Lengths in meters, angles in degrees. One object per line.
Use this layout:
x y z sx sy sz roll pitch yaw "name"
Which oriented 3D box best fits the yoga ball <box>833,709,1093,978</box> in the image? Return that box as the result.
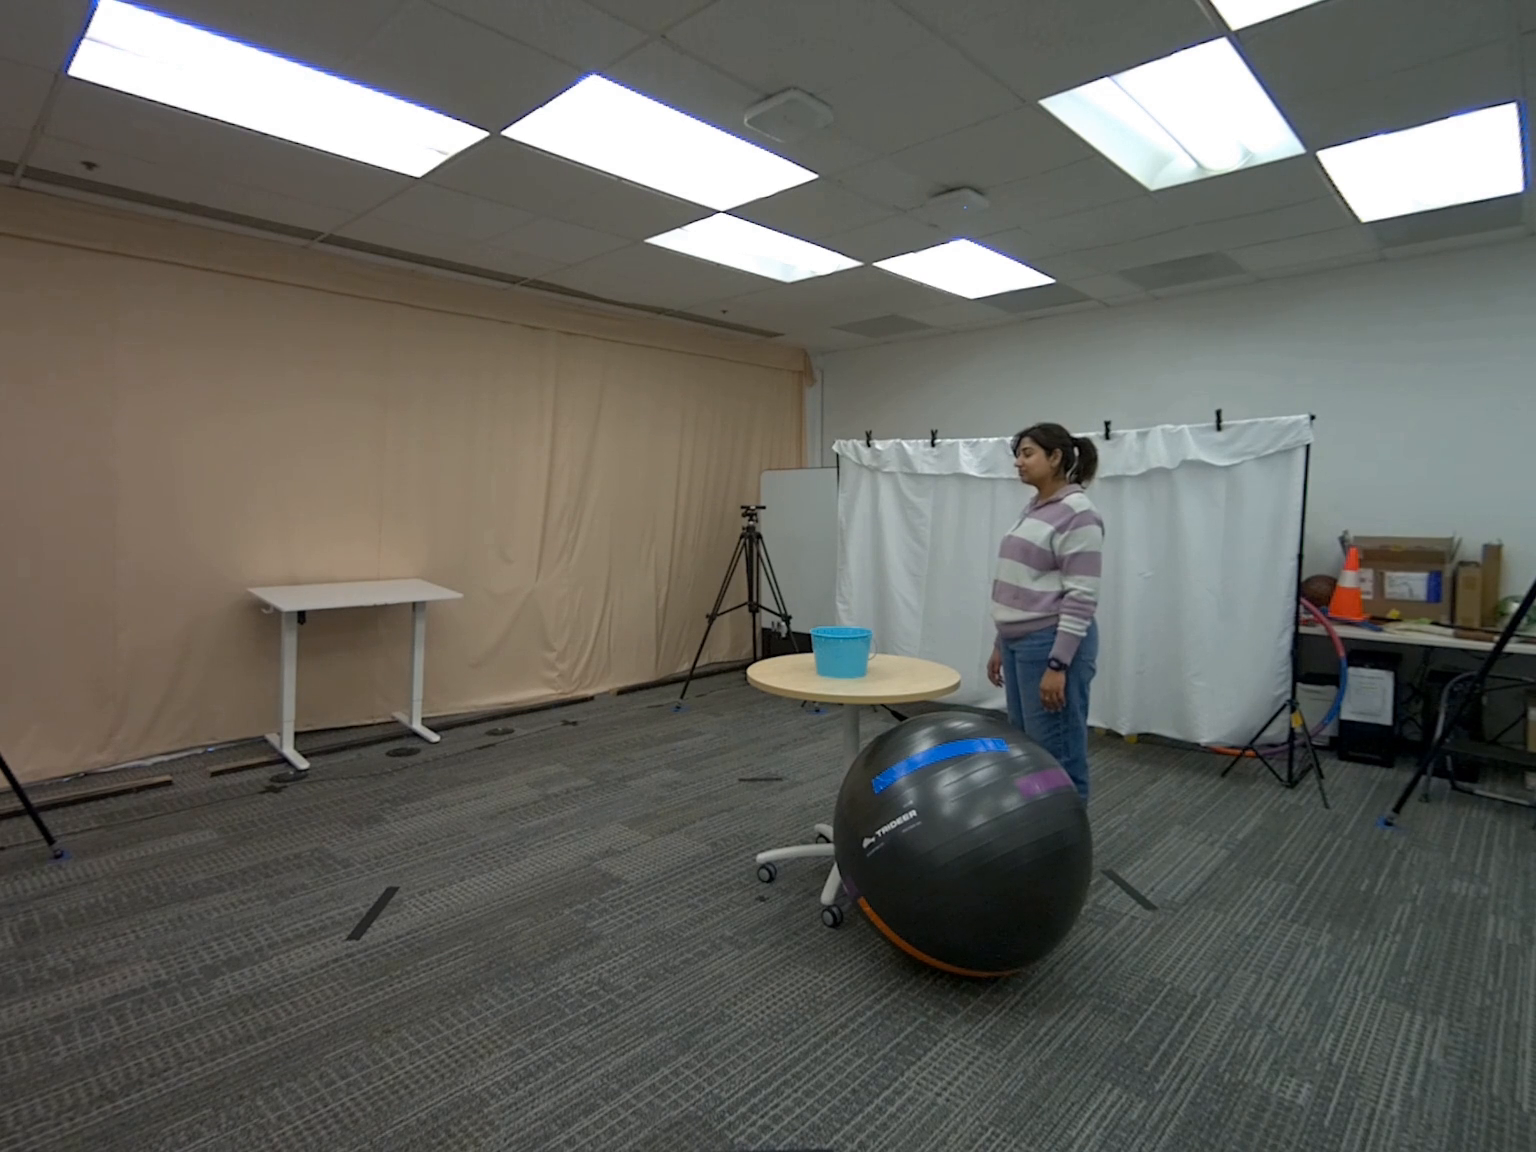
0.591 0.807 2.568 0.757 0.756 0.760 0 4 -2 "yoga ball"
